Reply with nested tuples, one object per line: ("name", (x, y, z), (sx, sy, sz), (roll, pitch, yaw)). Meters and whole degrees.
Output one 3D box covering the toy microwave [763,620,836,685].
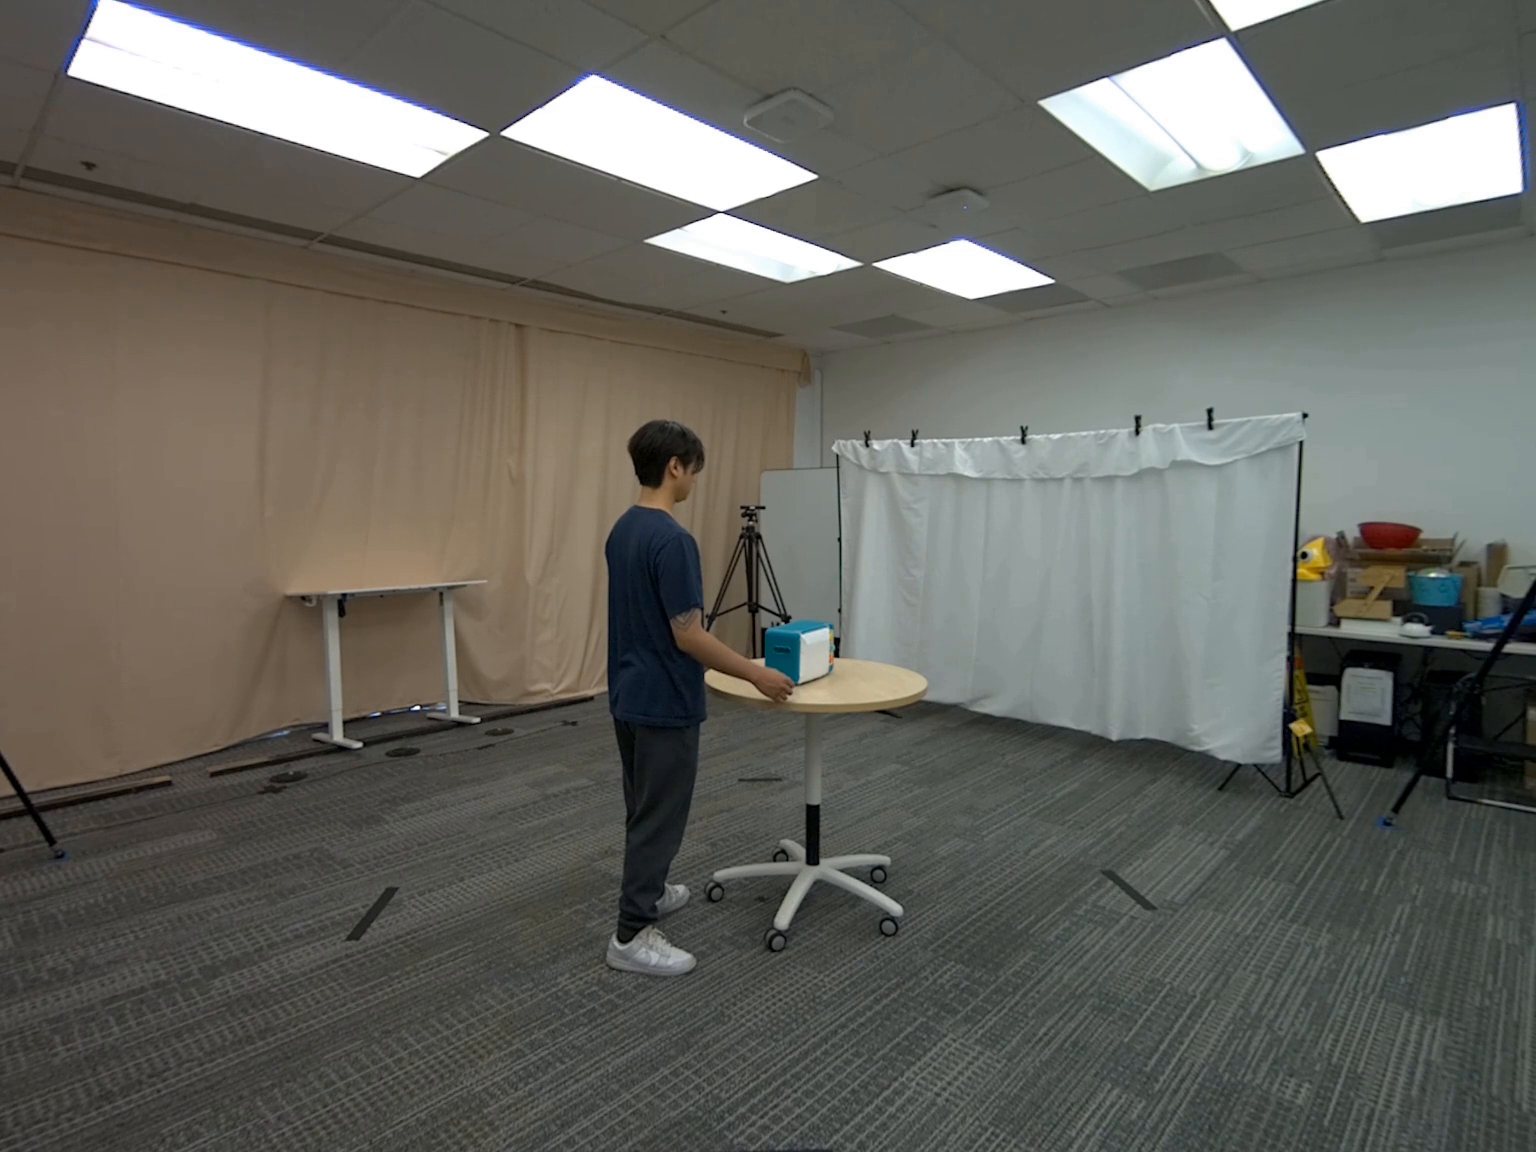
("toy microwave", (0.126, 0.264, 2.892), (0.157, 0.183, 0.279), (4, 6, 29))
